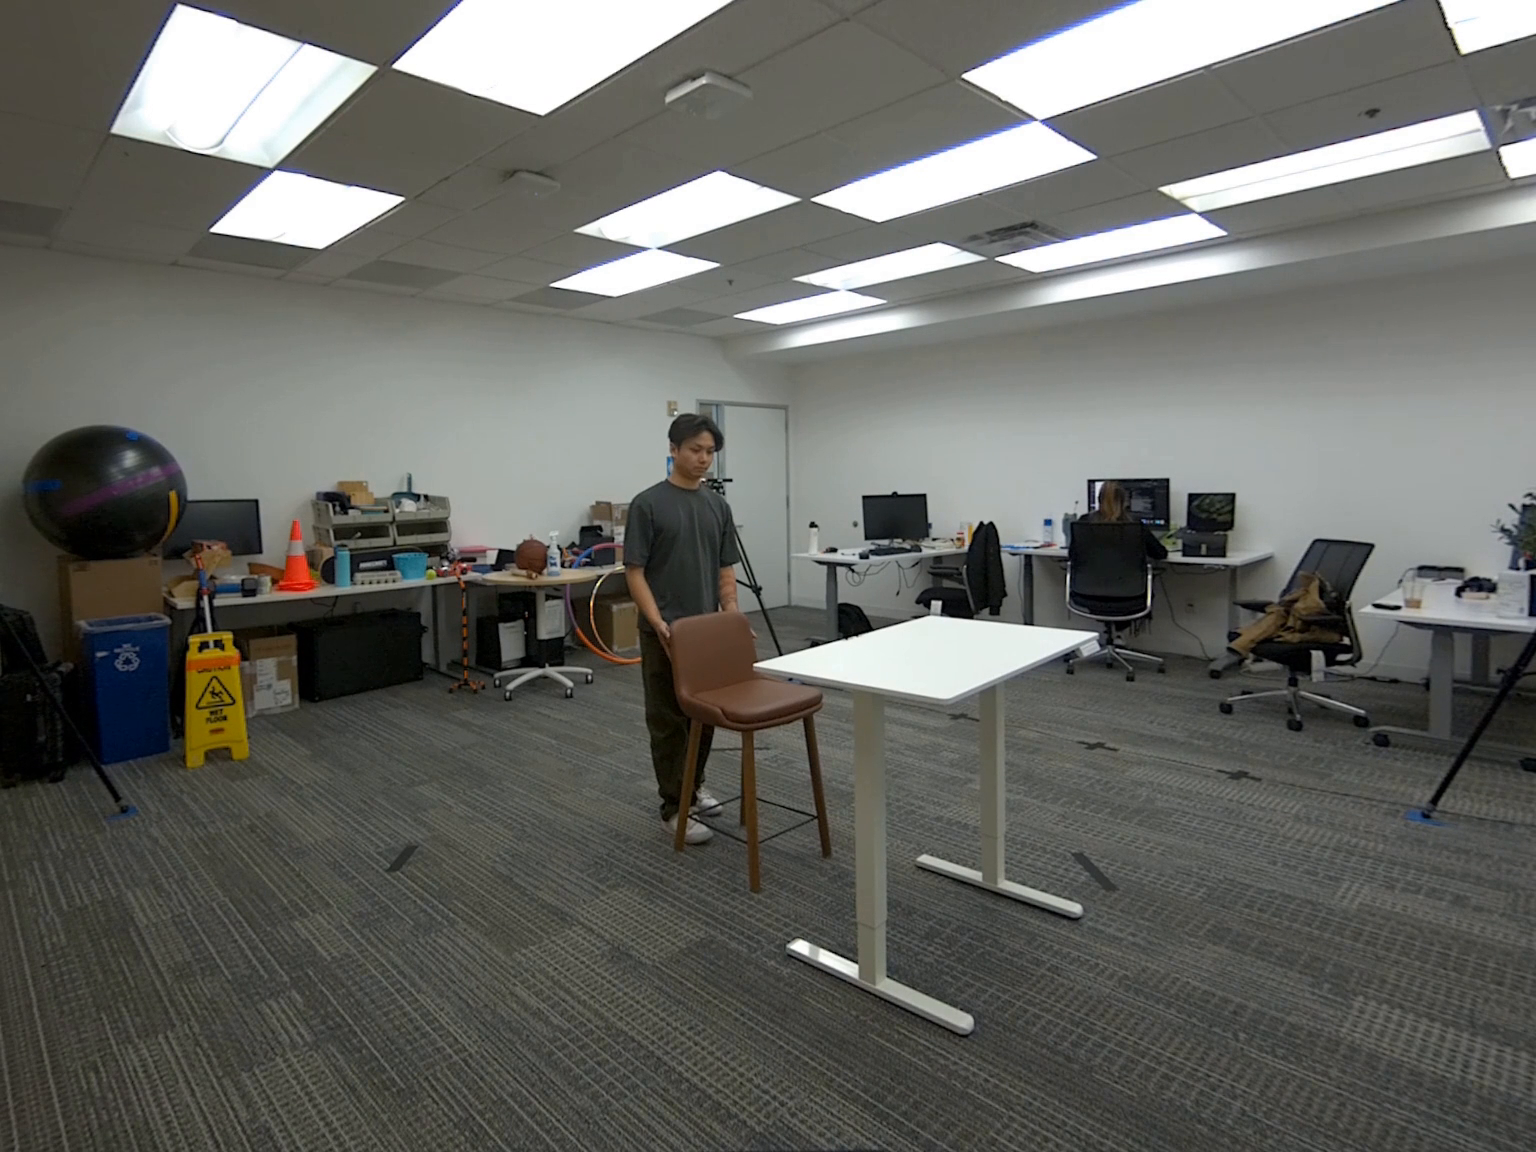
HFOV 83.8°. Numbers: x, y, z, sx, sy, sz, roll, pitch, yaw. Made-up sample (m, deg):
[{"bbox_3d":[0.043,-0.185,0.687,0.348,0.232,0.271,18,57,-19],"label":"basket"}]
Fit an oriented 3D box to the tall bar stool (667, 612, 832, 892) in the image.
[{"bbox_3d":[-0.073,0.602,3.161,0.481,0.888,0.444,0,4,45],"label":"tall bar stool"}]
